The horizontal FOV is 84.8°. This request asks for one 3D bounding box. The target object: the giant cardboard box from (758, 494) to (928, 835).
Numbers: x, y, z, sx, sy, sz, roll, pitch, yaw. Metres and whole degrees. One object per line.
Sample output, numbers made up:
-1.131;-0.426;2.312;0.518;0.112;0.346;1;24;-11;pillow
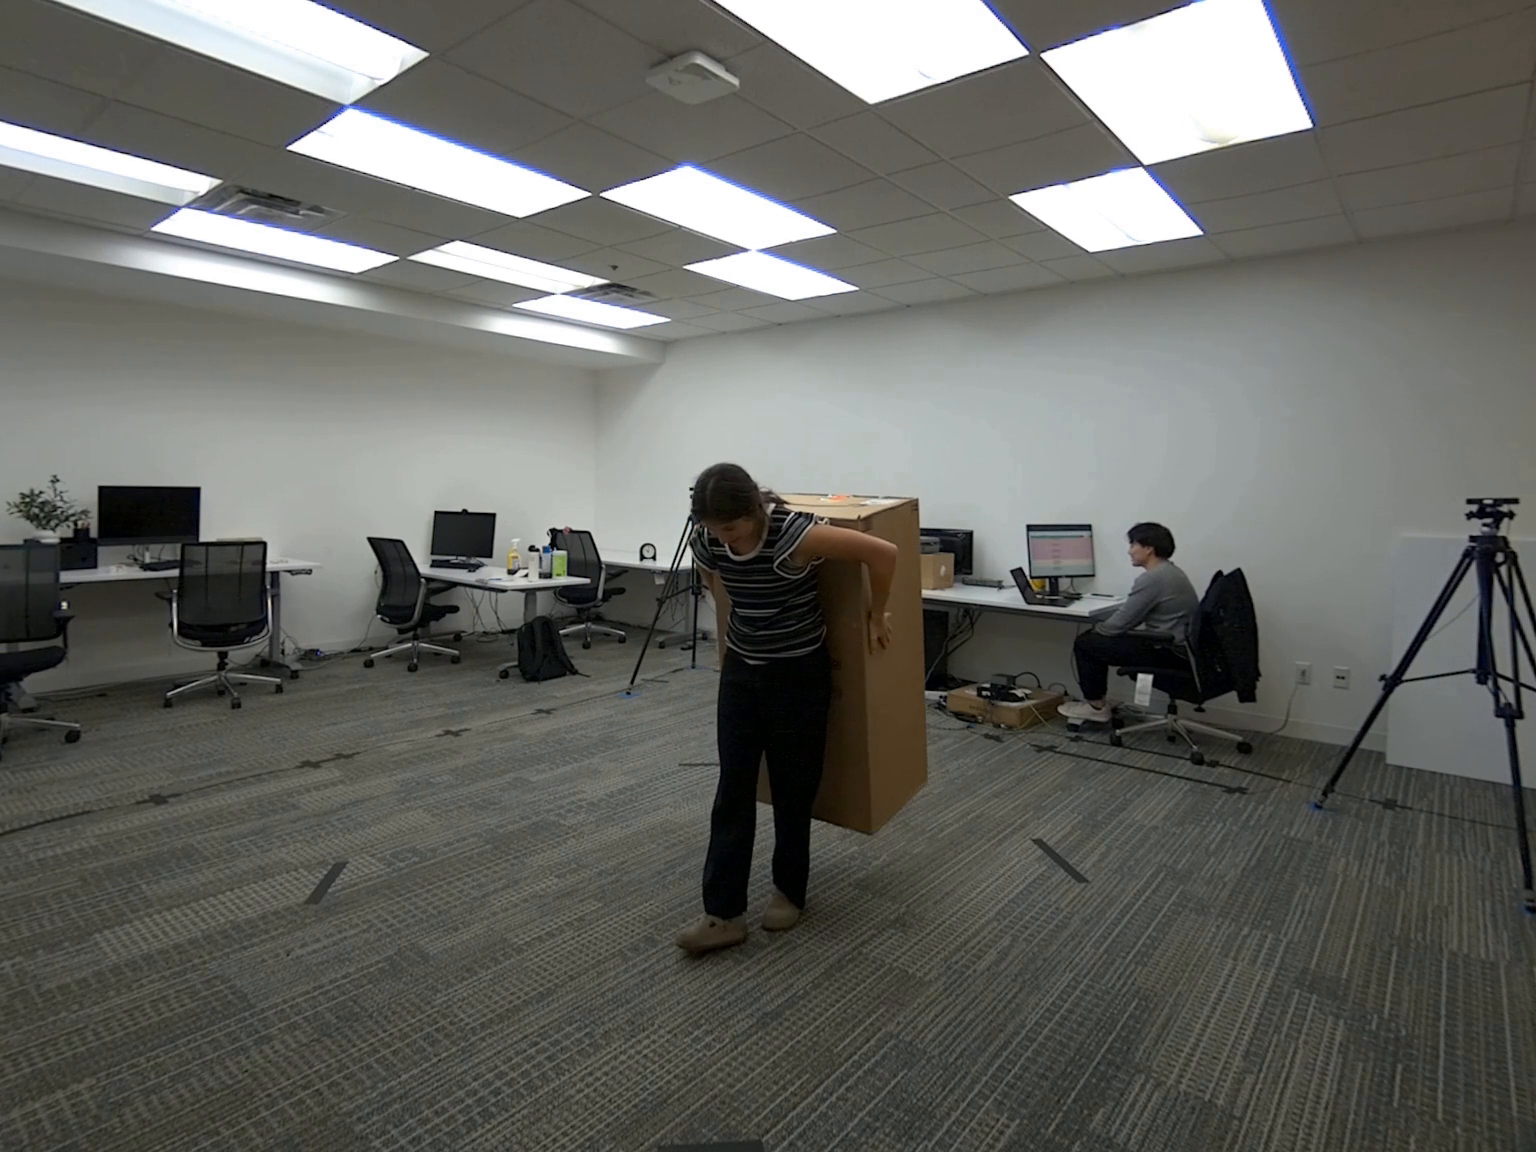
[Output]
0.177;0.255;2.939;0.596;1.016;0.417;4;12;36;giant cardboard box
